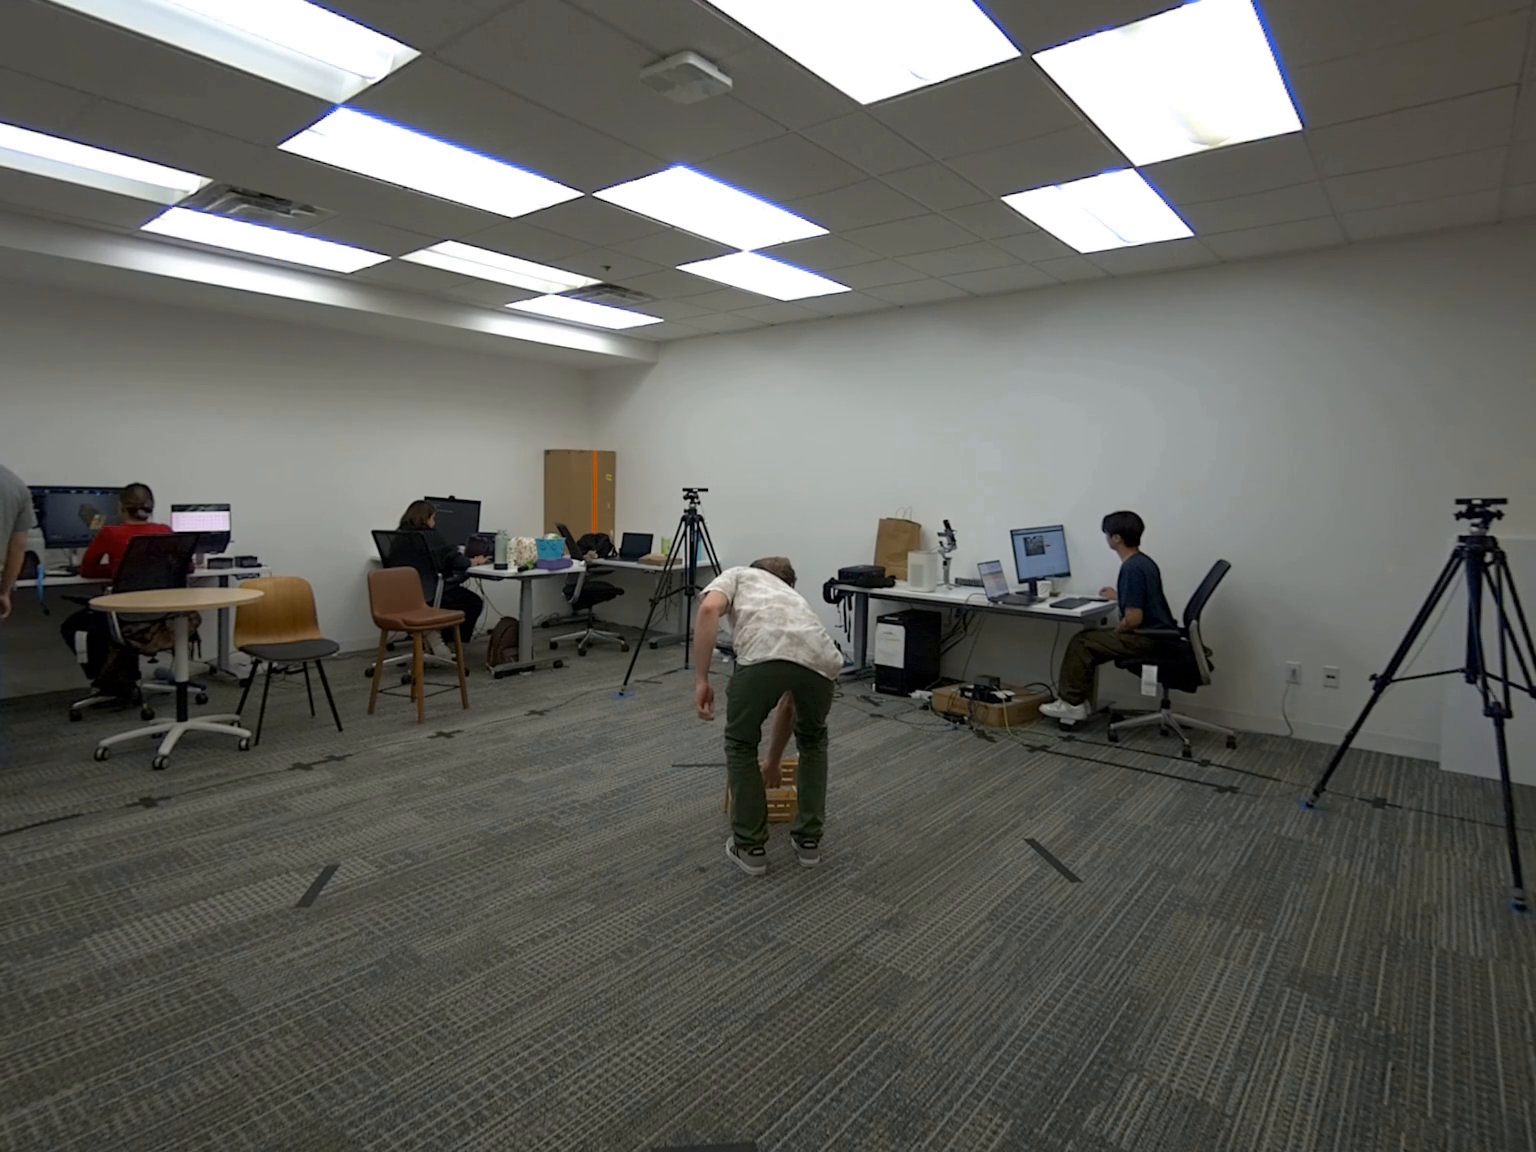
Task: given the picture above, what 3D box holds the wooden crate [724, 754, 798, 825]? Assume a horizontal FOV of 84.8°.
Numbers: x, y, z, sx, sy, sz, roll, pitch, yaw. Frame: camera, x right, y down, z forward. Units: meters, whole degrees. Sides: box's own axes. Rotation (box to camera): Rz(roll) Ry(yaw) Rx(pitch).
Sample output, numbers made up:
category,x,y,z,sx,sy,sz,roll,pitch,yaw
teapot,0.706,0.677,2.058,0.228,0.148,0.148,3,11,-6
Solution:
category,x,y,z,sx,sy,sz,roll,pitch,yaw
wooden crate,-0.026,0.881,3.659,0.322,0.272,0.305,1,4,-7
